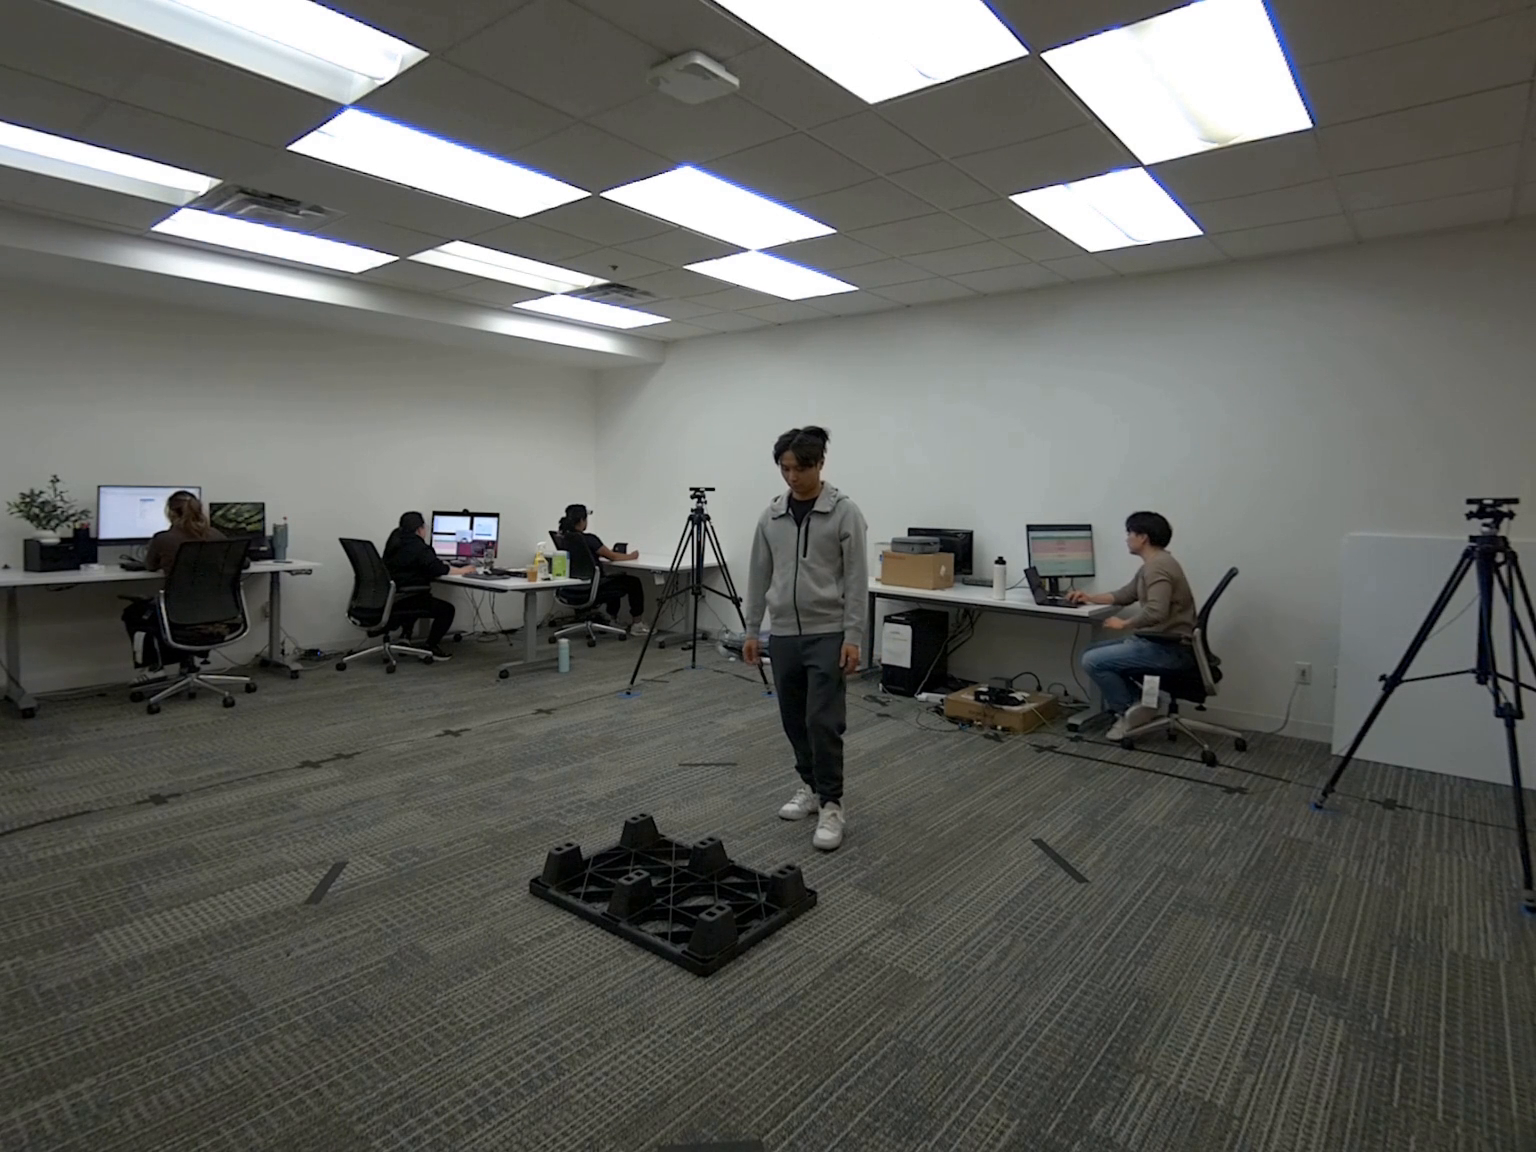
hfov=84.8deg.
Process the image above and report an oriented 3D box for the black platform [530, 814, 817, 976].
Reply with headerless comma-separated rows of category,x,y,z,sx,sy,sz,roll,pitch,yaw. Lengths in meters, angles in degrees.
black platform,-0.340,1.020,2.881,0.832,0.143,0.588,5,6,37
